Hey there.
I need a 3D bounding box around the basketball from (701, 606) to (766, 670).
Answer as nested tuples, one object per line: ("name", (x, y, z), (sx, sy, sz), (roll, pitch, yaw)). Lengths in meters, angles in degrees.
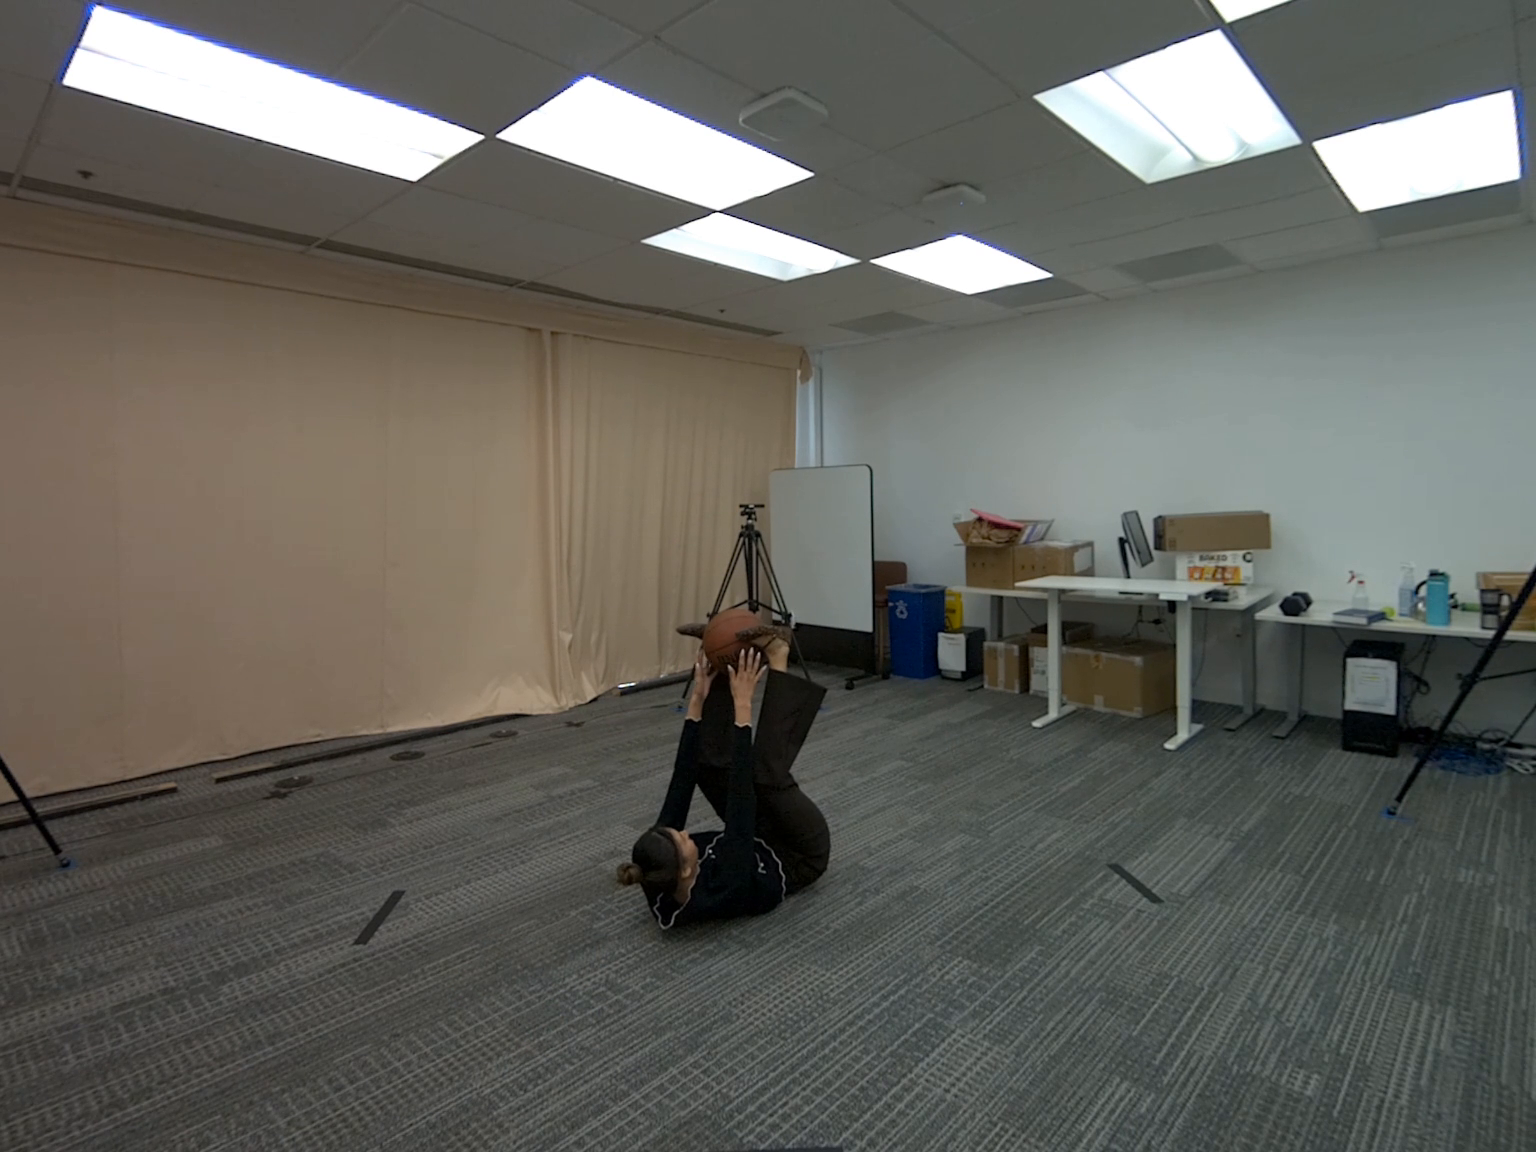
("basketball", (-0.100, 0.229, 2.958), (0.236, 0.235, 0.237), (-1, 4, -2))
